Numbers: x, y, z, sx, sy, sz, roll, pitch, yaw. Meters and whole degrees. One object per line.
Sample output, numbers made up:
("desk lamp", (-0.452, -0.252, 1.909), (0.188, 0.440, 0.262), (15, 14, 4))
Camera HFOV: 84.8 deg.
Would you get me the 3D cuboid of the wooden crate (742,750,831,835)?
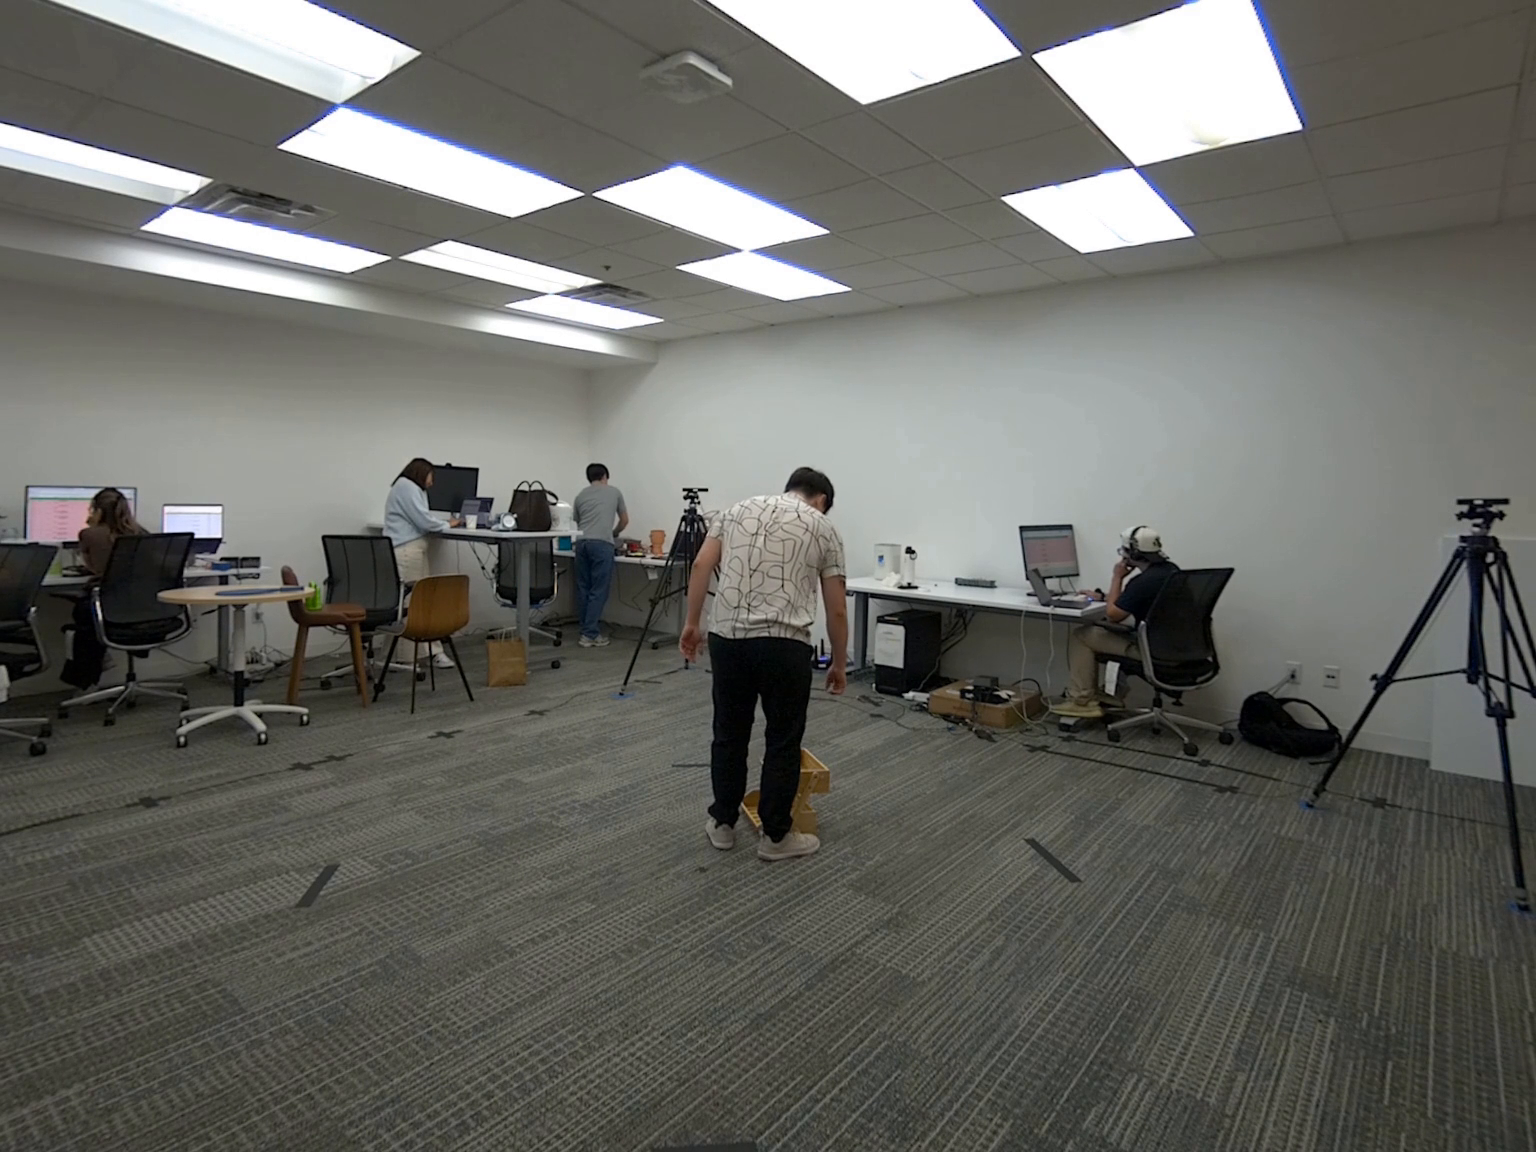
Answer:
("wooden crate", (0.047, 0.892, 3.570), (0.297, 0.272, 0.331), (0, 5, -15))
